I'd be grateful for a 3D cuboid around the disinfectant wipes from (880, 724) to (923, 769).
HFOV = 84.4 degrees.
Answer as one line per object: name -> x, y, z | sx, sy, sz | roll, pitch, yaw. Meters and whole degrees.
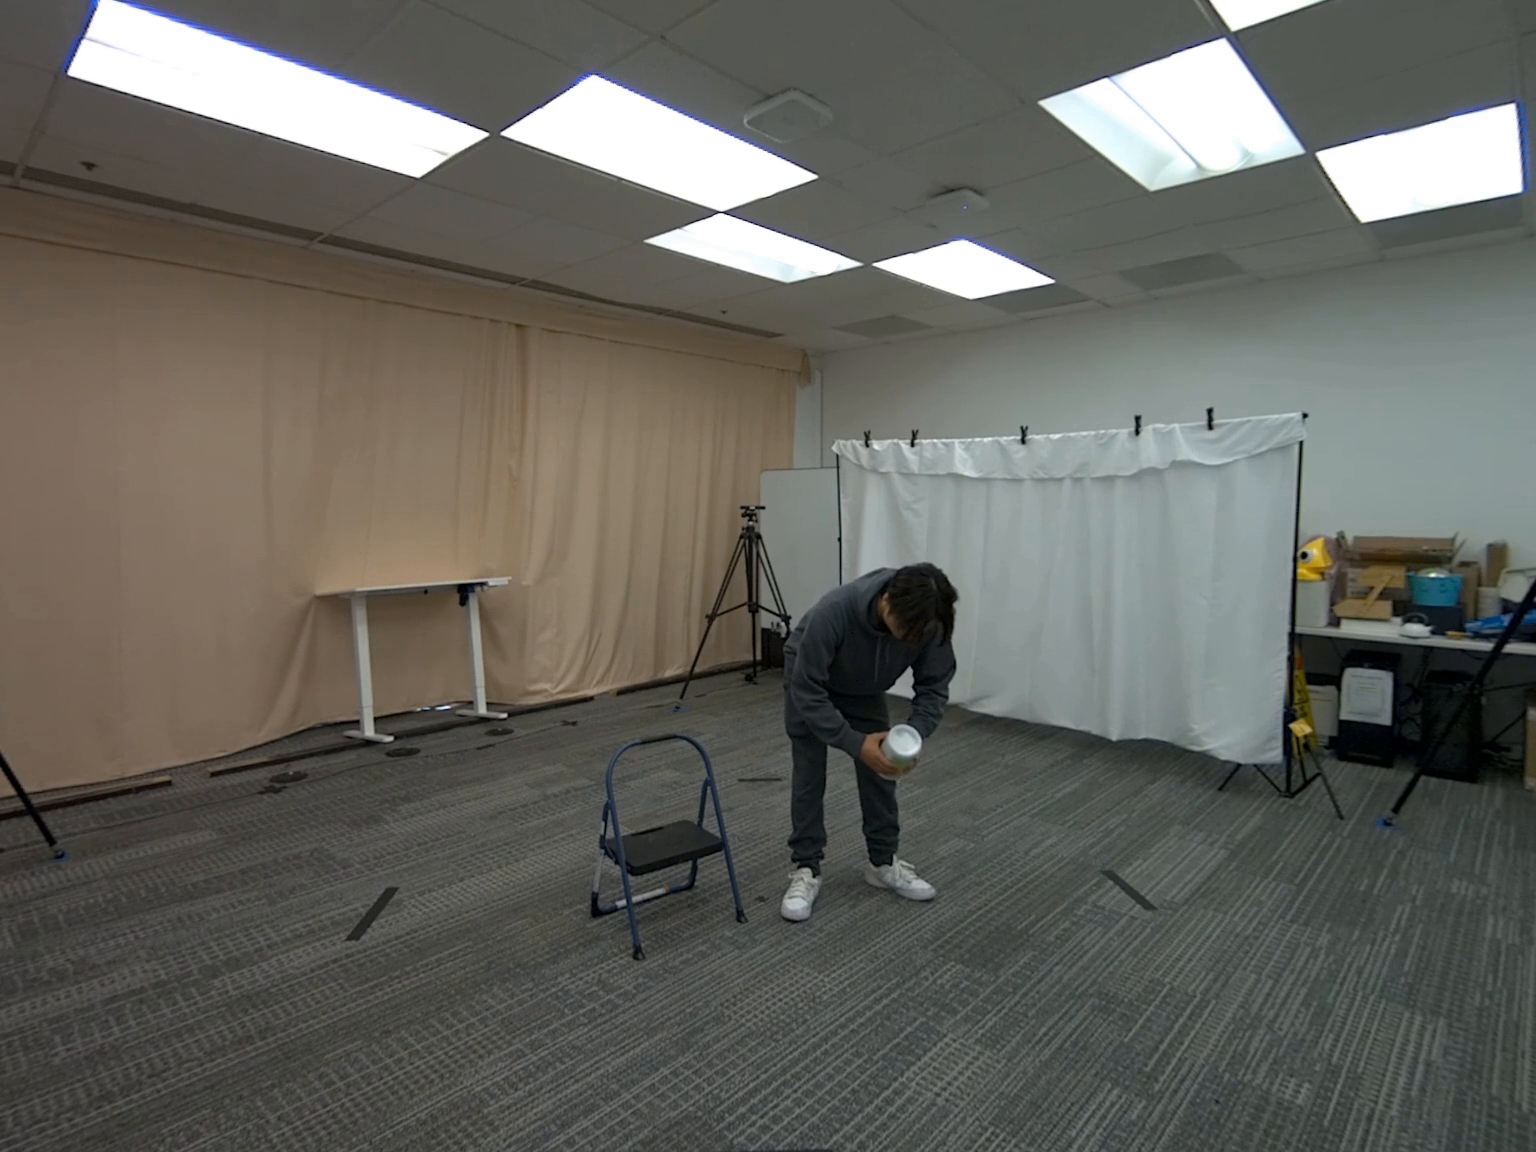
disinfectant wipes -> 0.422, 0.567, 2.726 | 0.117, 0.120, 0.214 | 0, -32, -3
